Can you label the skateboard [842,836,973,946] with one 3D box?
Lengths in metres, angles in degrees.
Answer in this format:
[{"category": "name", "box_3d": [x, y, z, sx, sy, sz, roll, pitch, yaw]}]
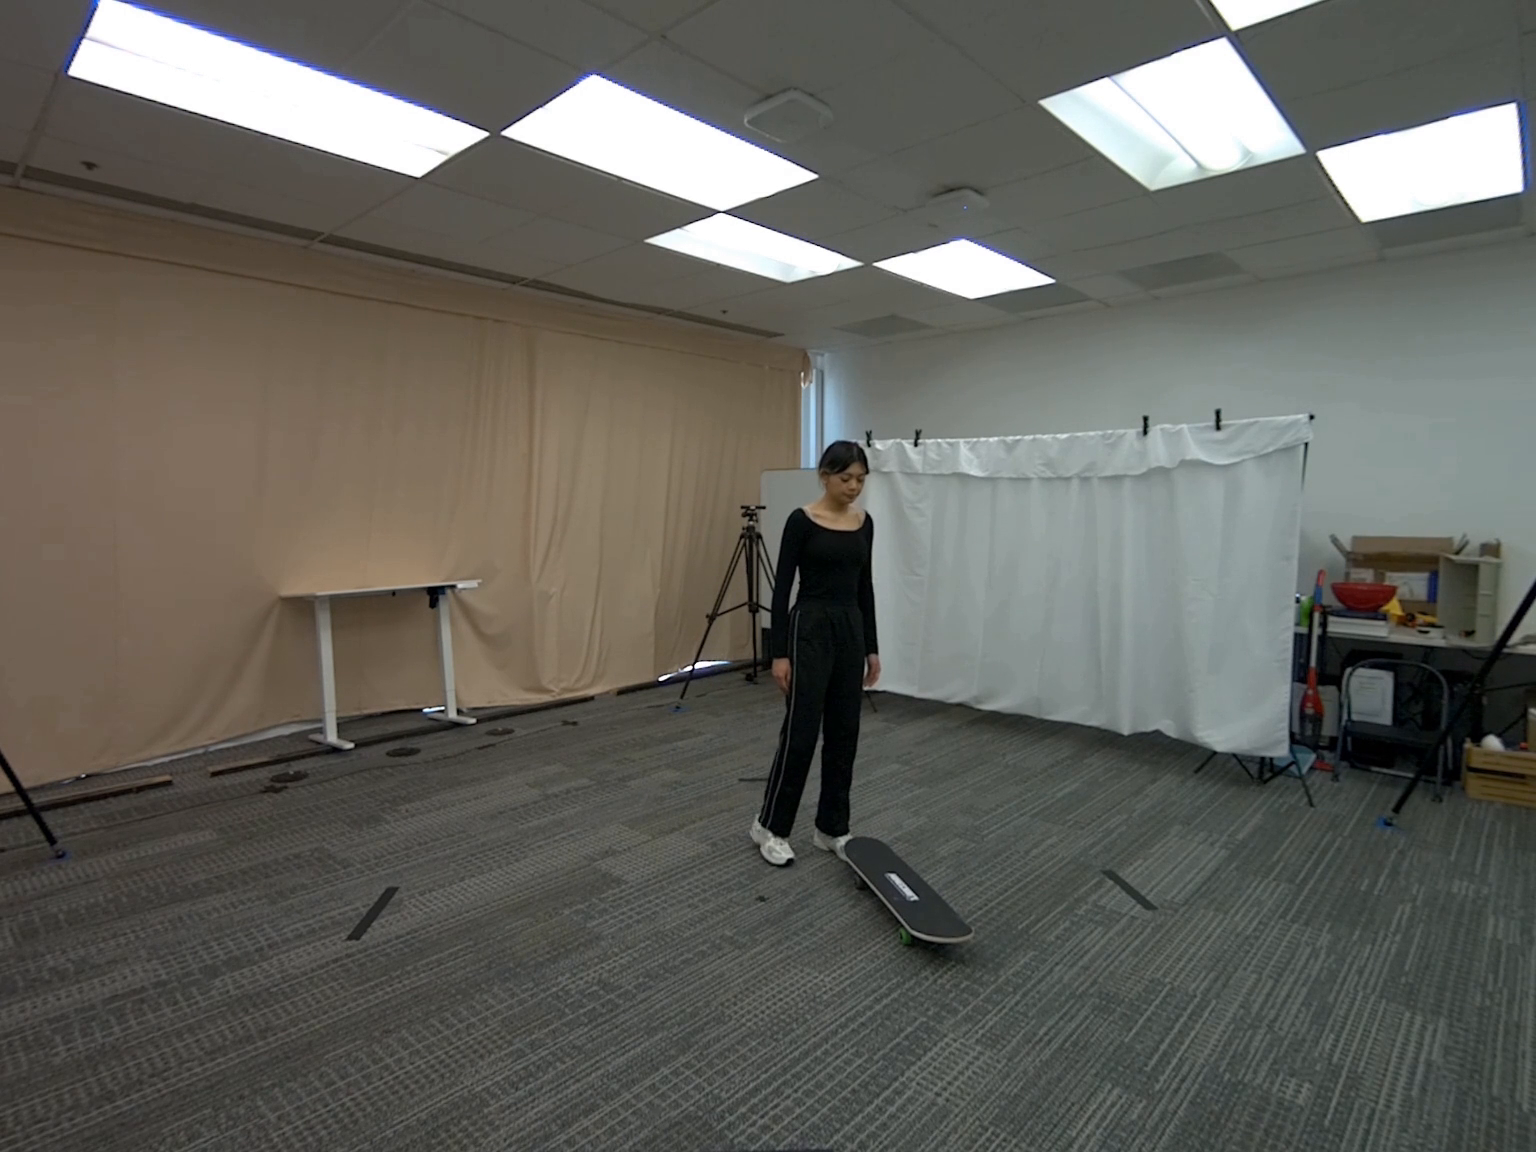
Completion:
[{"category": "skateboard", "box_3d": [0.467, 1.096, 2.881, 0.191, 0.110, 0.798, -3, 5, -14]}]
